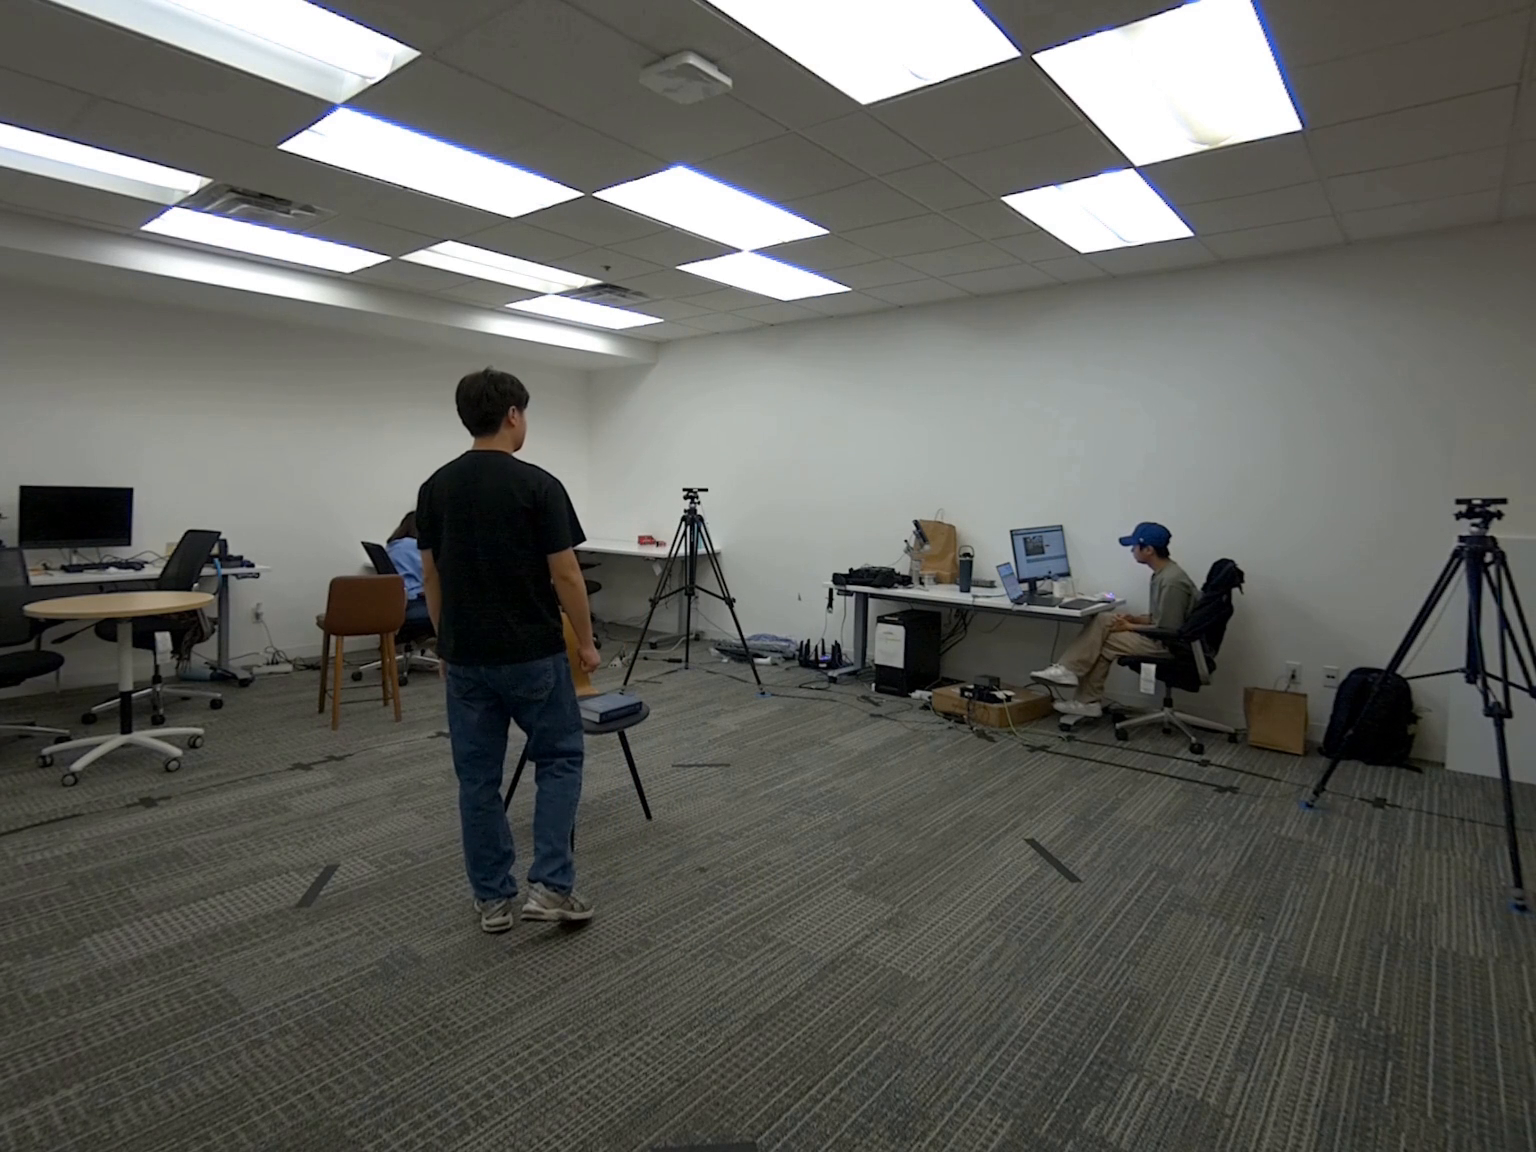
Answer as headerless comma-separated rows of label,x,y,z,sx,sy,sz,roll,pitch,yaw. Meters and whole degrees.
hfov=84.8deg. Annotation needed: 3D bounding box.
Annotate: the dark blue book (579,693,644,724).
dark blue book,-0.660,0.524,3.415,0.169,0.045,0.238,7,9,35
